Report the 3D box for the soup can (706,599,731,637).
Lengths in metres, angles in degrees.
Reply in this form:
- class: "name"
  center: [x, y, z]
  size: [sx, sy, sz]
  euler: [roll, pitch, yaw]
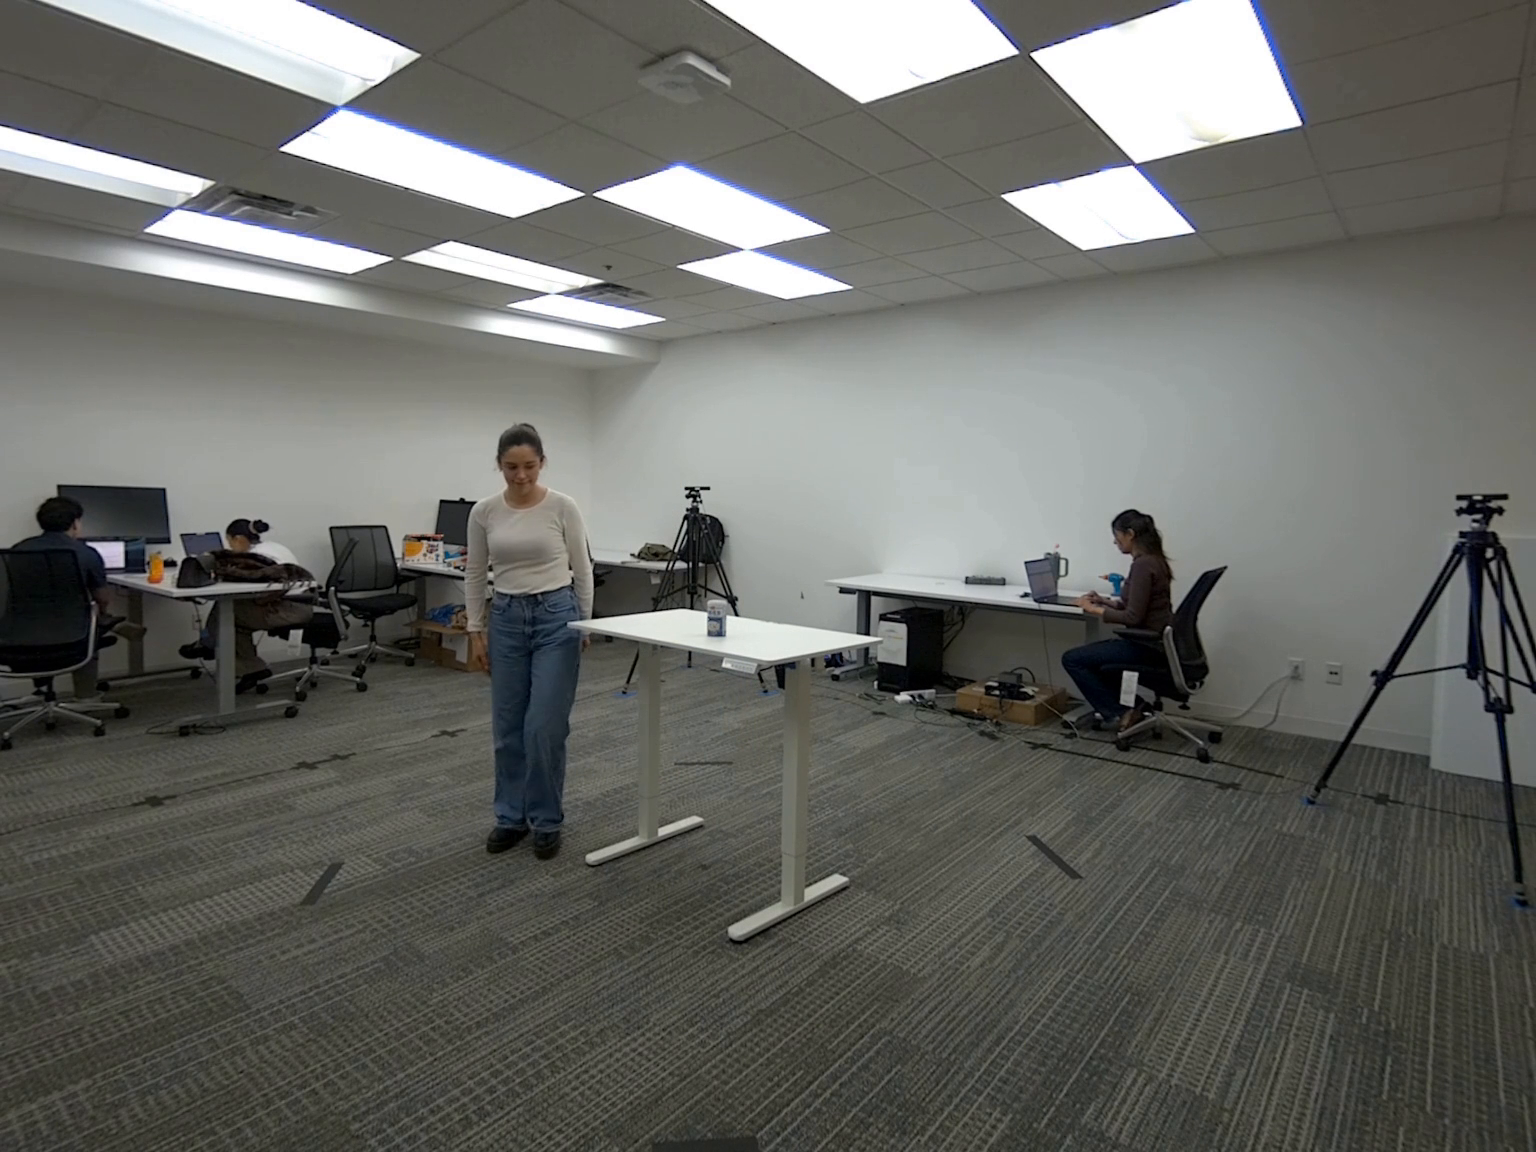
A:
- class: "soup can"
  center: [-0.187, 0.147, 2.906]
  size: [0.067, 0.121, 0.067]
  euler: [0, 1, -2]
